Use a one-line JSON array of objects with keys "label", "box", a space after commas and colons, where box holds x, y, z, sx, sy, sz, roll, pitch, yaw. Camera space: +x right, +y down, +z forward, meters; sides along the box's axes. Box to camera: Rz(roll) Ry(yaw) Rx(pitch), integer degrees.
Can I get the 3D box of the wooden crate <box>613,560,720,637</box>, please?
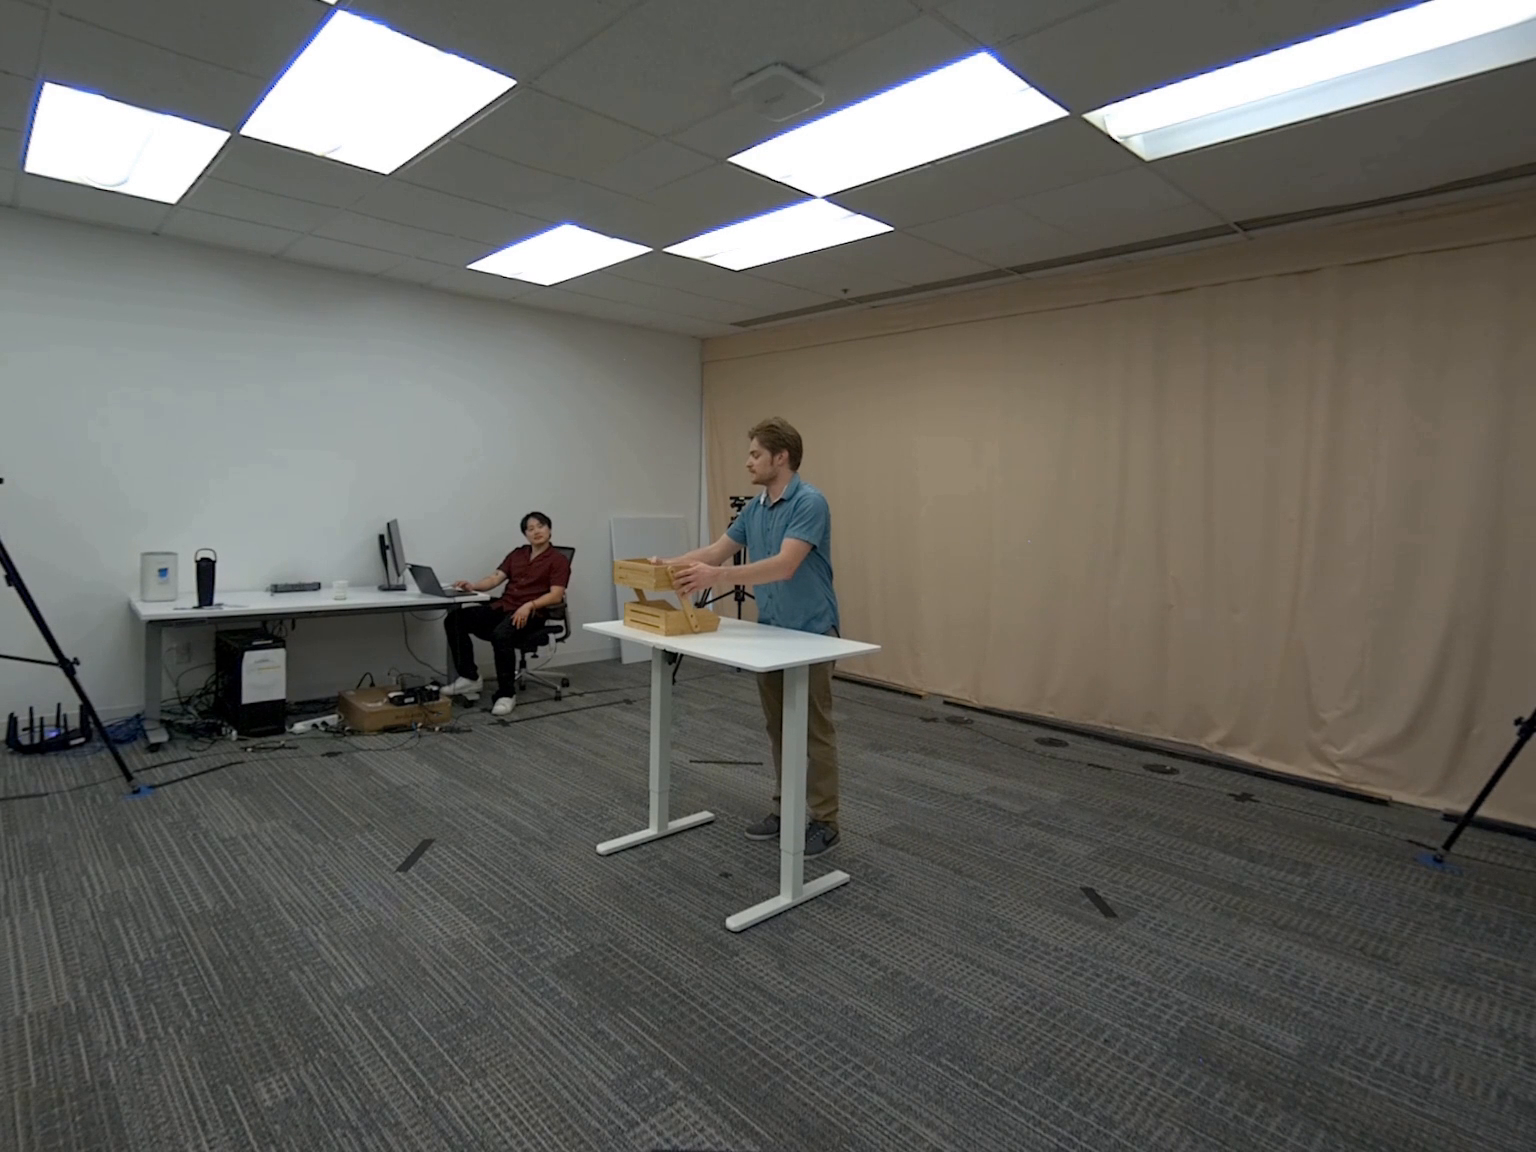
[{"label": "wooden crate", "box": [-0.395, 0.072, 3.227, 0.295, 0.272, 0.333, -4, 7, -40]}]
